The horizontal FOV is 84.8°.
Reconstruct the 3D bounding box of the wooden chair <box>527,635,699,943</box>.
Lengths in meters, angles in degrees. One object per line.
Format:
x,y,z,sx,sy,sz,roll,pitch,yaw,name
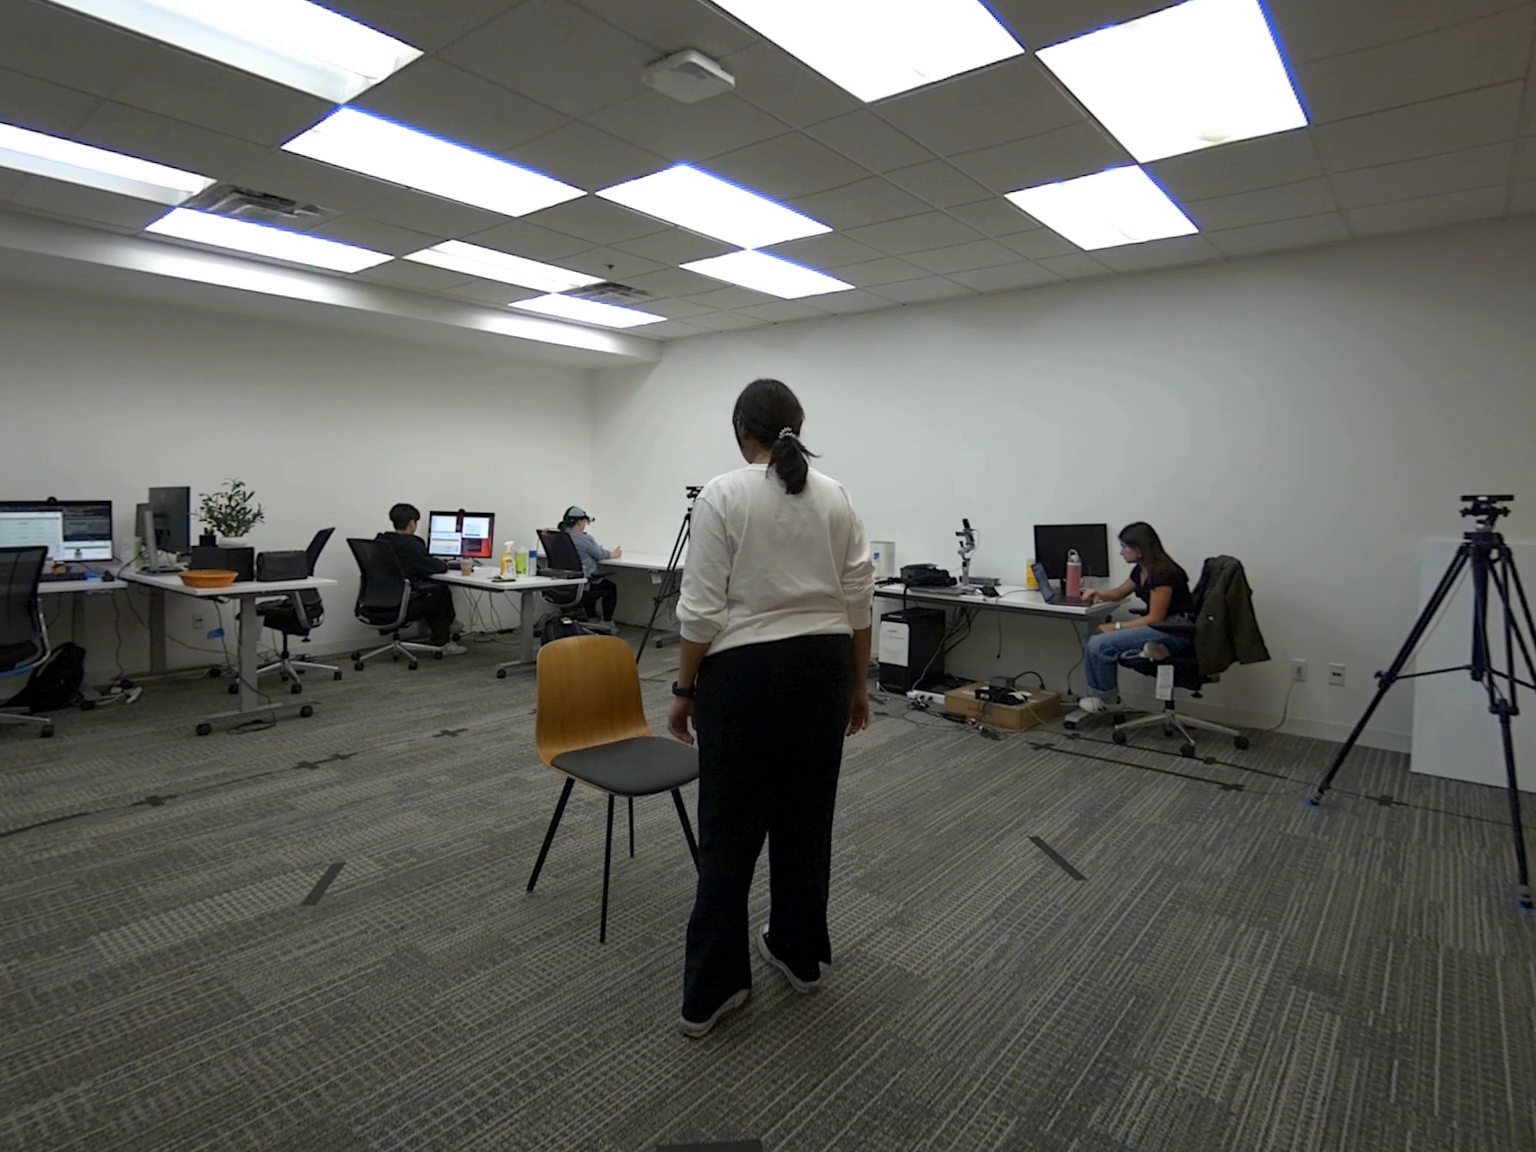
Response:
-0.495,0.657,2.865,0.463,0.878,0.539,-2,0,-44,wooden chair
